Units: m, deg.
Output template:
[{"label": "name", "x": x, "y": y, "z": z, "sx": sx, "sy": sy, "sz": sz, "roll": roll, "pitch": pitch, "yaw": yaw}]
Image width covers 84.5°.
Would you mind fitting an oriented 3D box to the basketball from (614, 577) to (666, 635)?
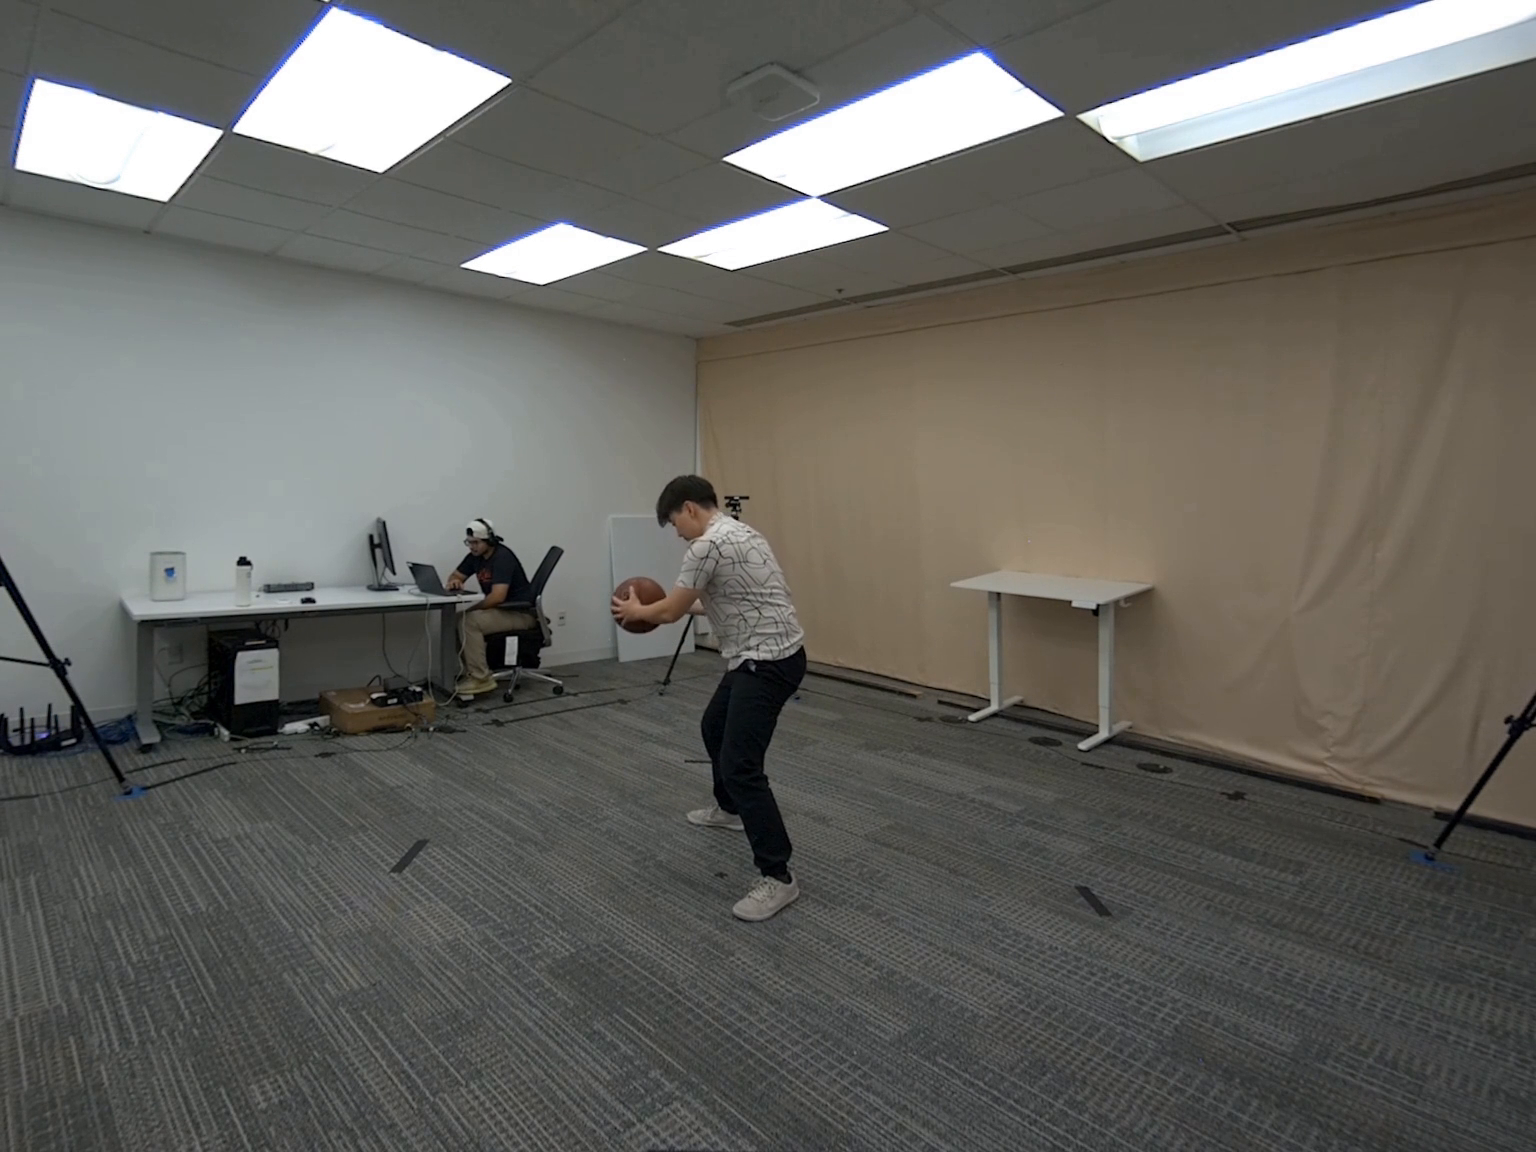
[{"label": "basketball", "x": -0.539, "y": 0.123, "z": 3.525, "sx": 0.236, "sy": 0.235, "sz": 0.237, "roll": 1, "pitch": 4, "yaw": -1}]
